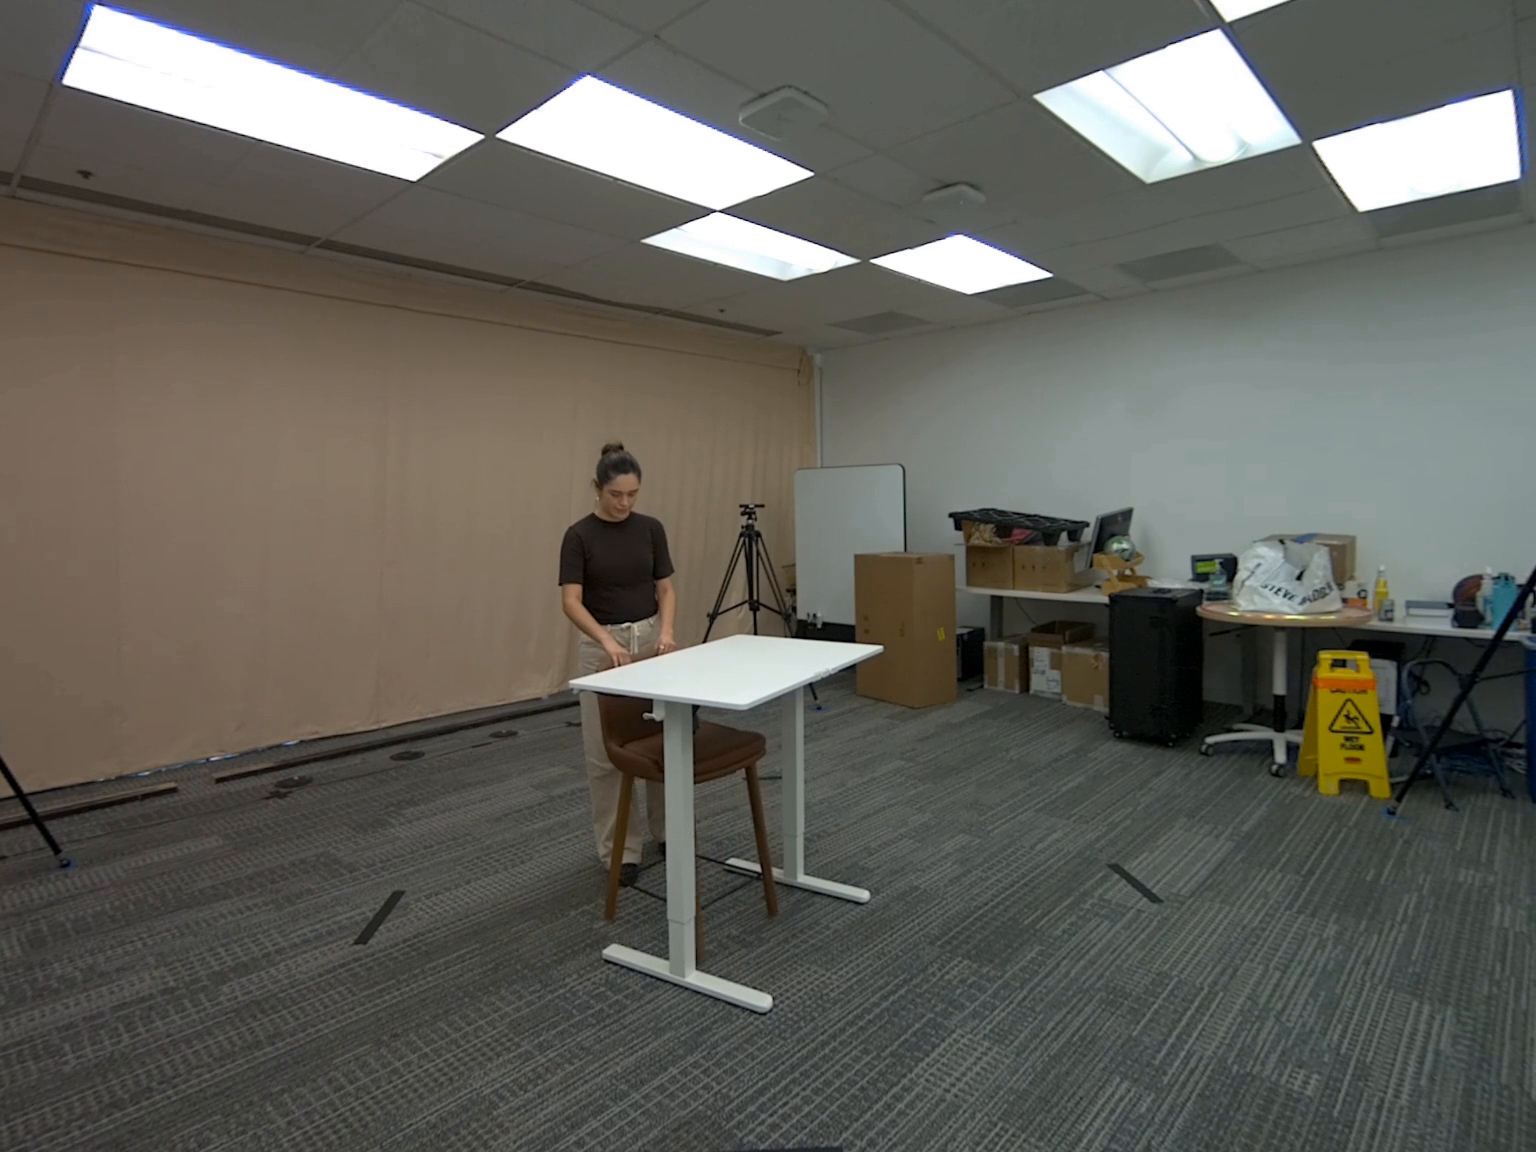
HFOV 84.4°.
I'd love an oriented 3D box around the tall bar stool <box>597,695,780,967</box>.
[{"bbox_3d":[-0.281,0.724,2.824,0.482,0.889,0.443,-1,2,40],"label":"tall bar stool"}]
